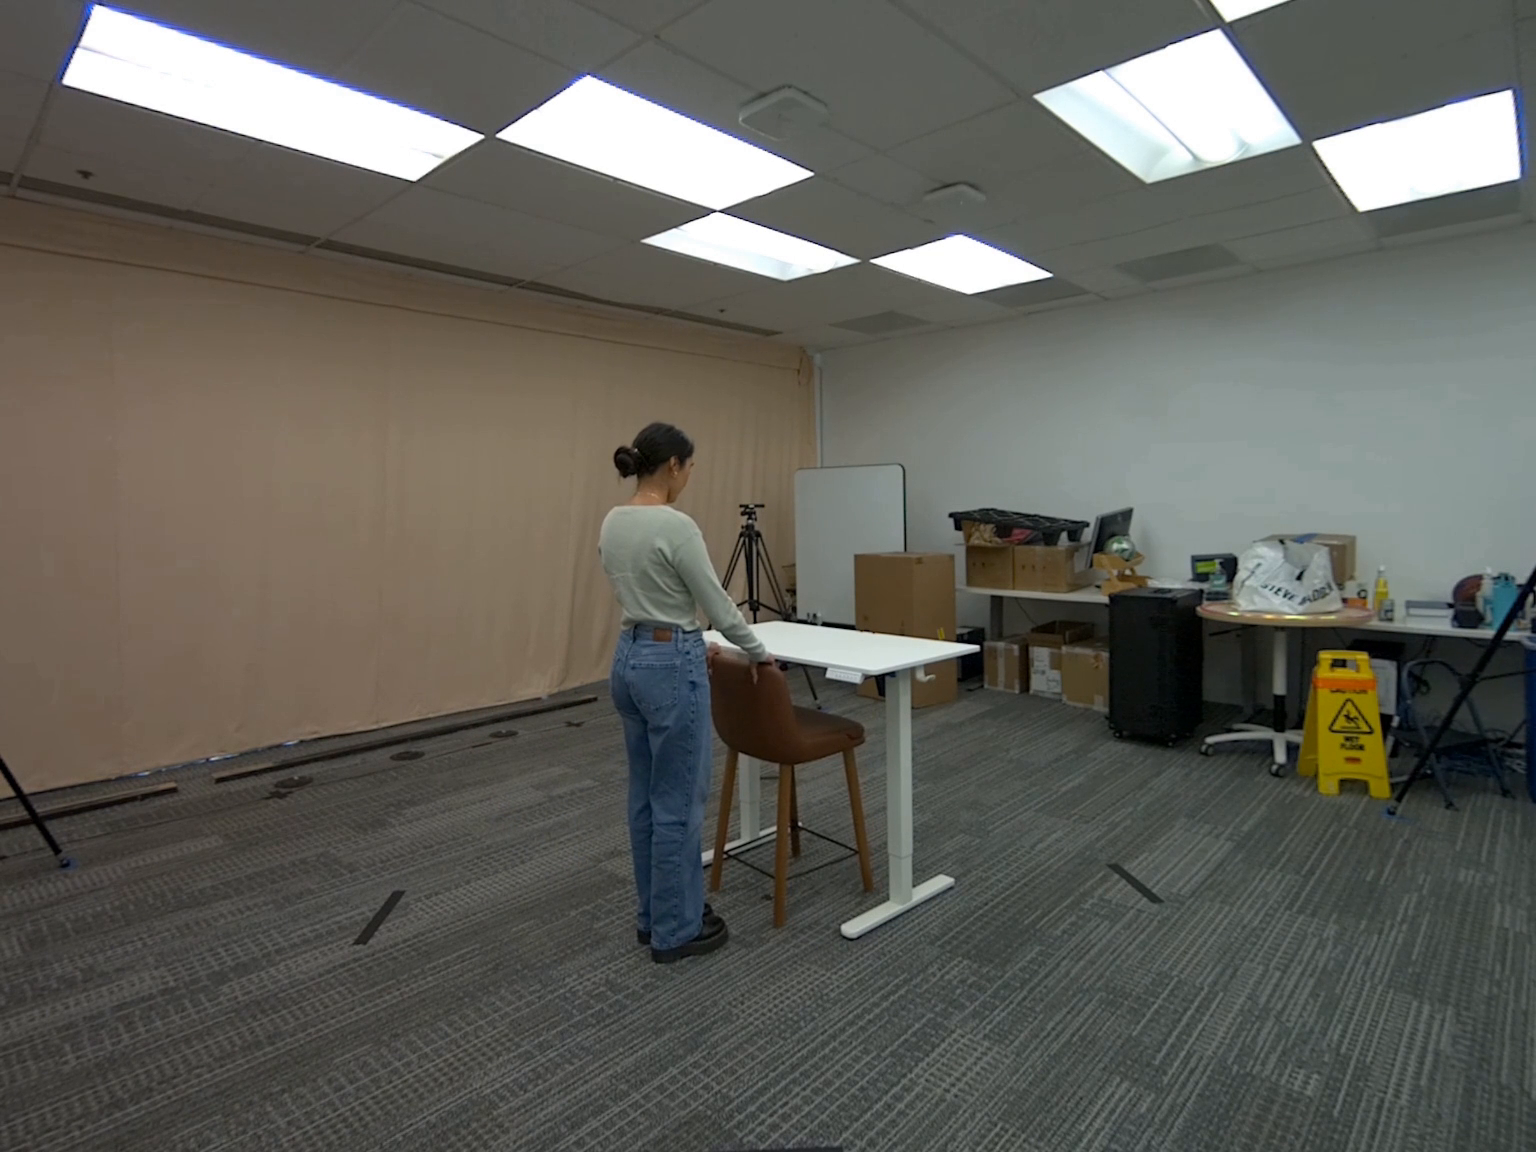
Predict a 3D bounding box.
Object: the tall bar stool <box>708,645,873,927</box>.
[{"bbox_3d":[0.063,0.701,3.008,0.454,0.886,0.471,-7,7,-38],"label":"tall bar stool"}]
